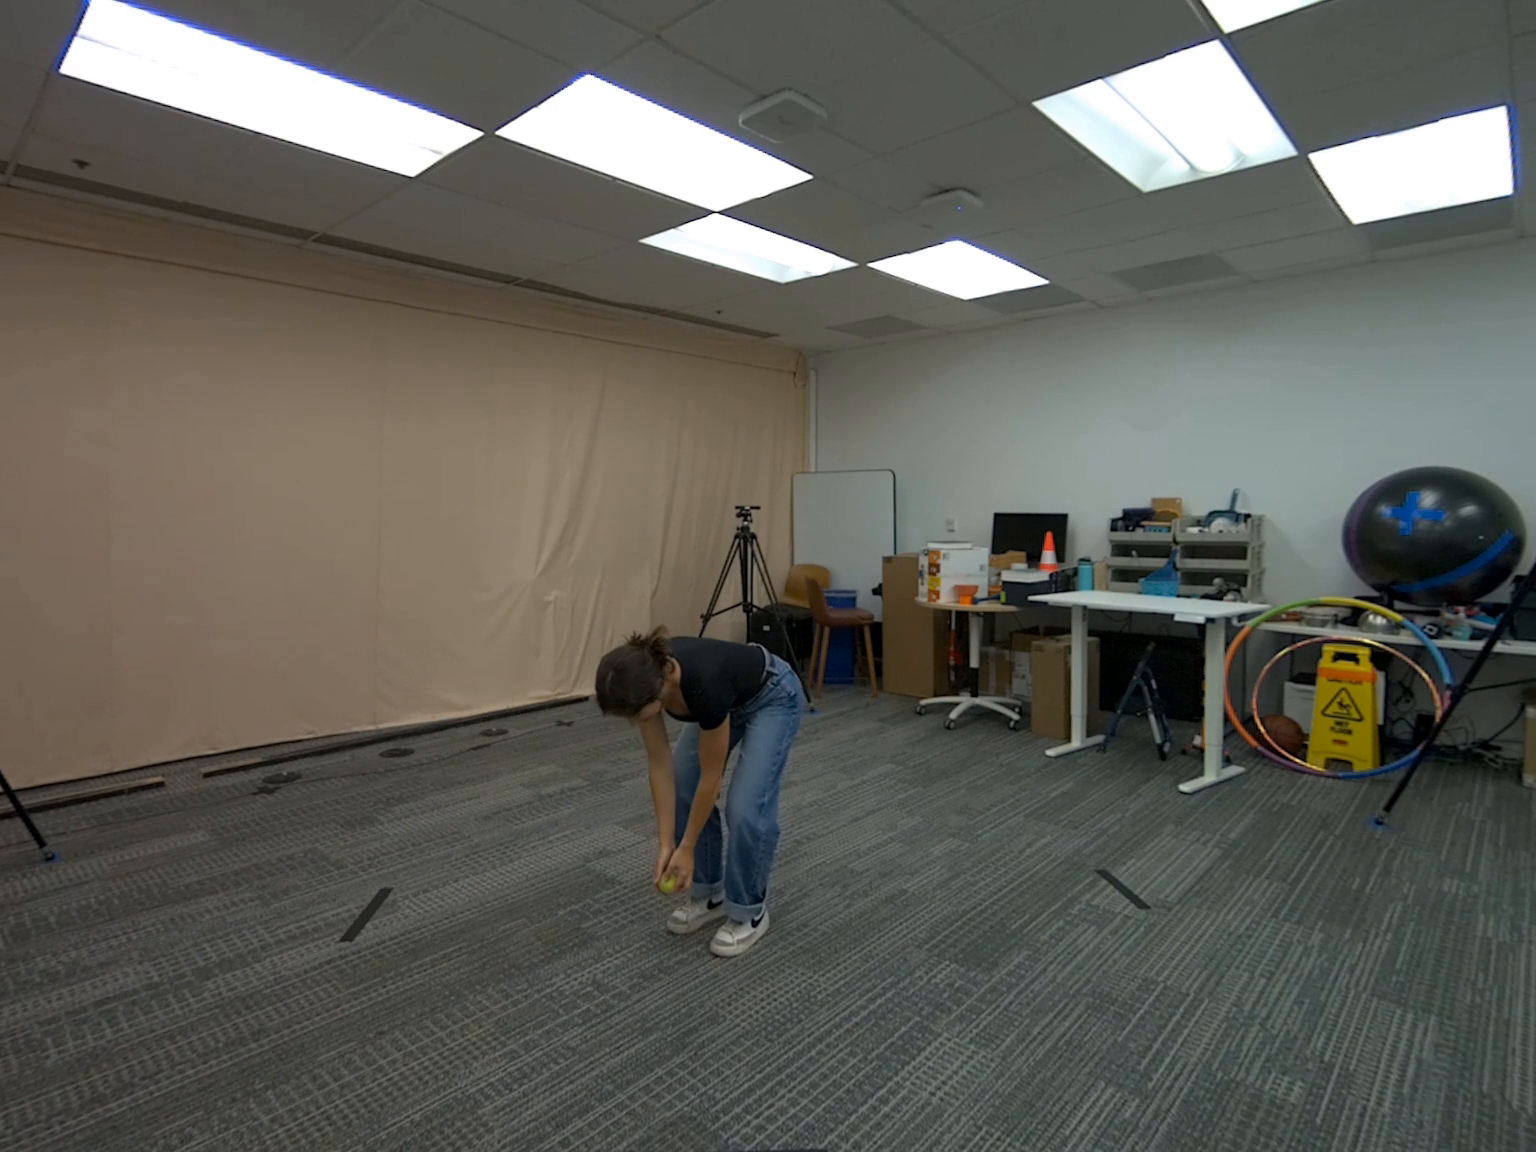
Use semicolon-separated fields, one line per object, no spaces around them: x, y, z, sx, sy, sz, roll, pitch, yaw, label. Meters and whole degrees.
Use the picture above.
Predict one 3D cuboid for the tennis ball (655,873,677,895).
-0.304;0.935;2.593;0.066;0.066;0.067;0;4;-2;tennis ball
